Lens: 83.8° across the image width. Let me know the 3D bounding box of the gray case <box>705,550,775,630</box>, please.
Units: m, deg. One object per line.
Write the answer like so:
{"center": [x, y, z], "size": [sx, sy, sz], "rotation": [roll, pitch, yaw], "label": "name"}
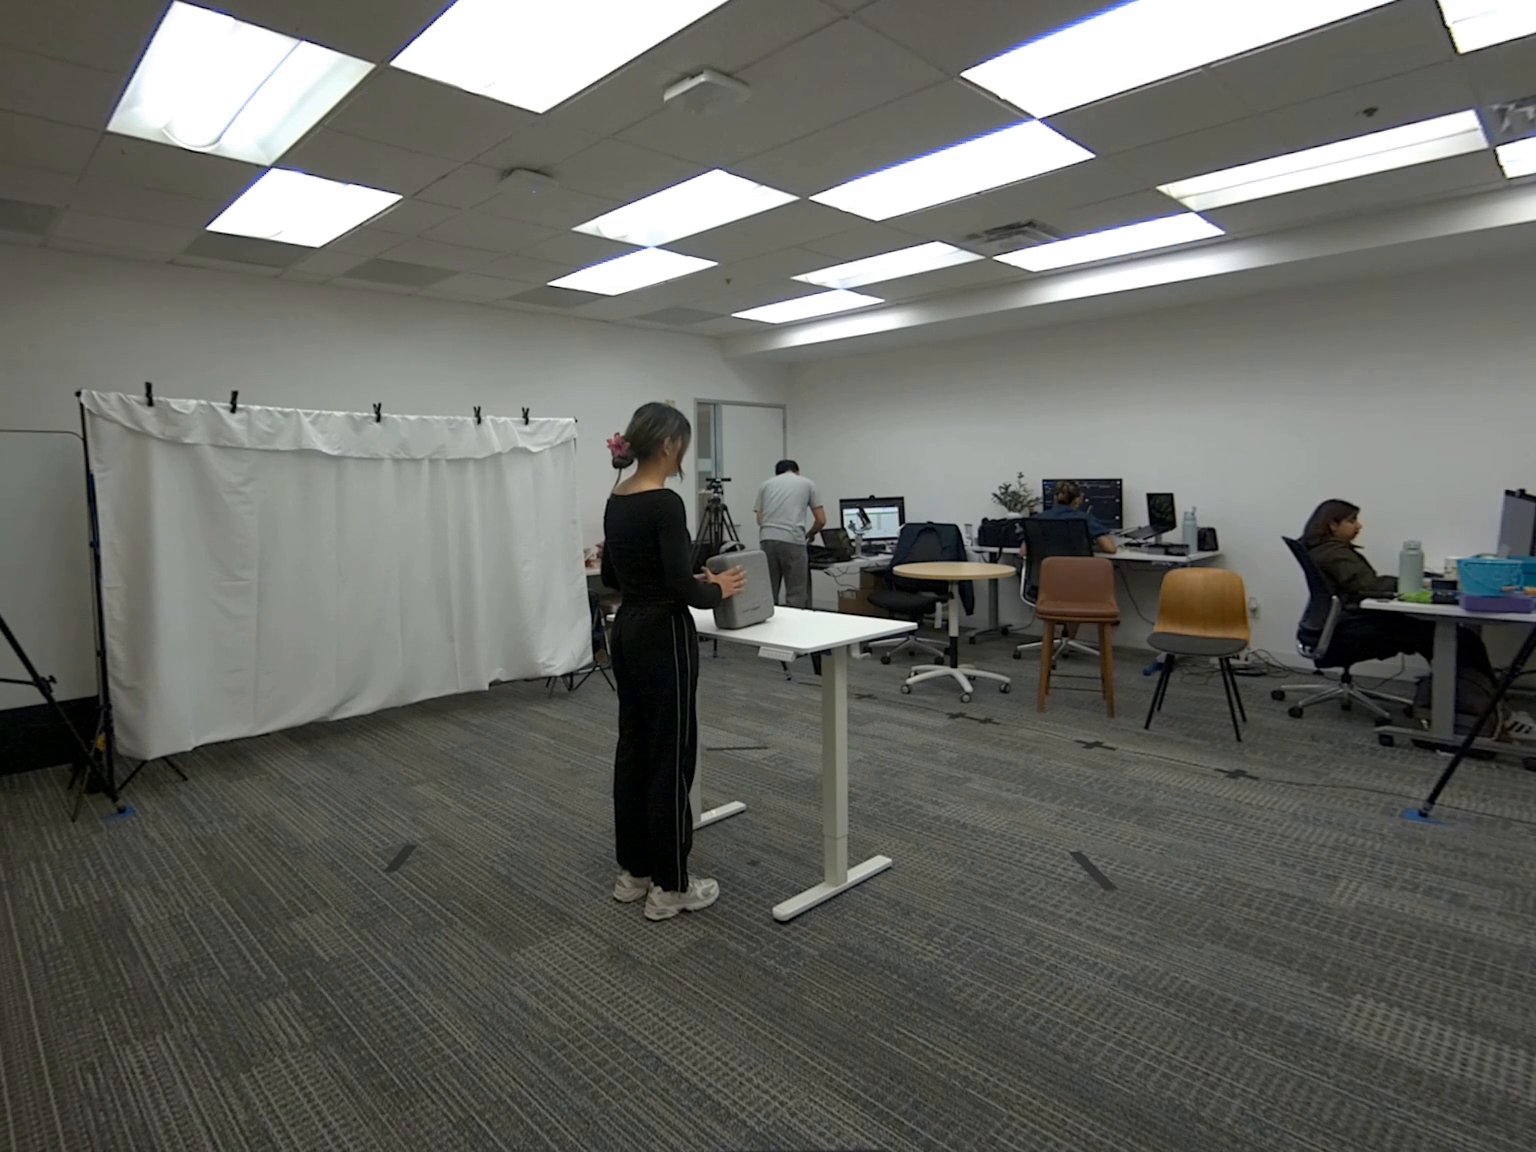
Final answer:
{"center": [-0.092, 0.042, 2.987], "size": [0.107, 0.260, 0.251], "rotation": [-7, 1, 33], "label": "gray case"}
